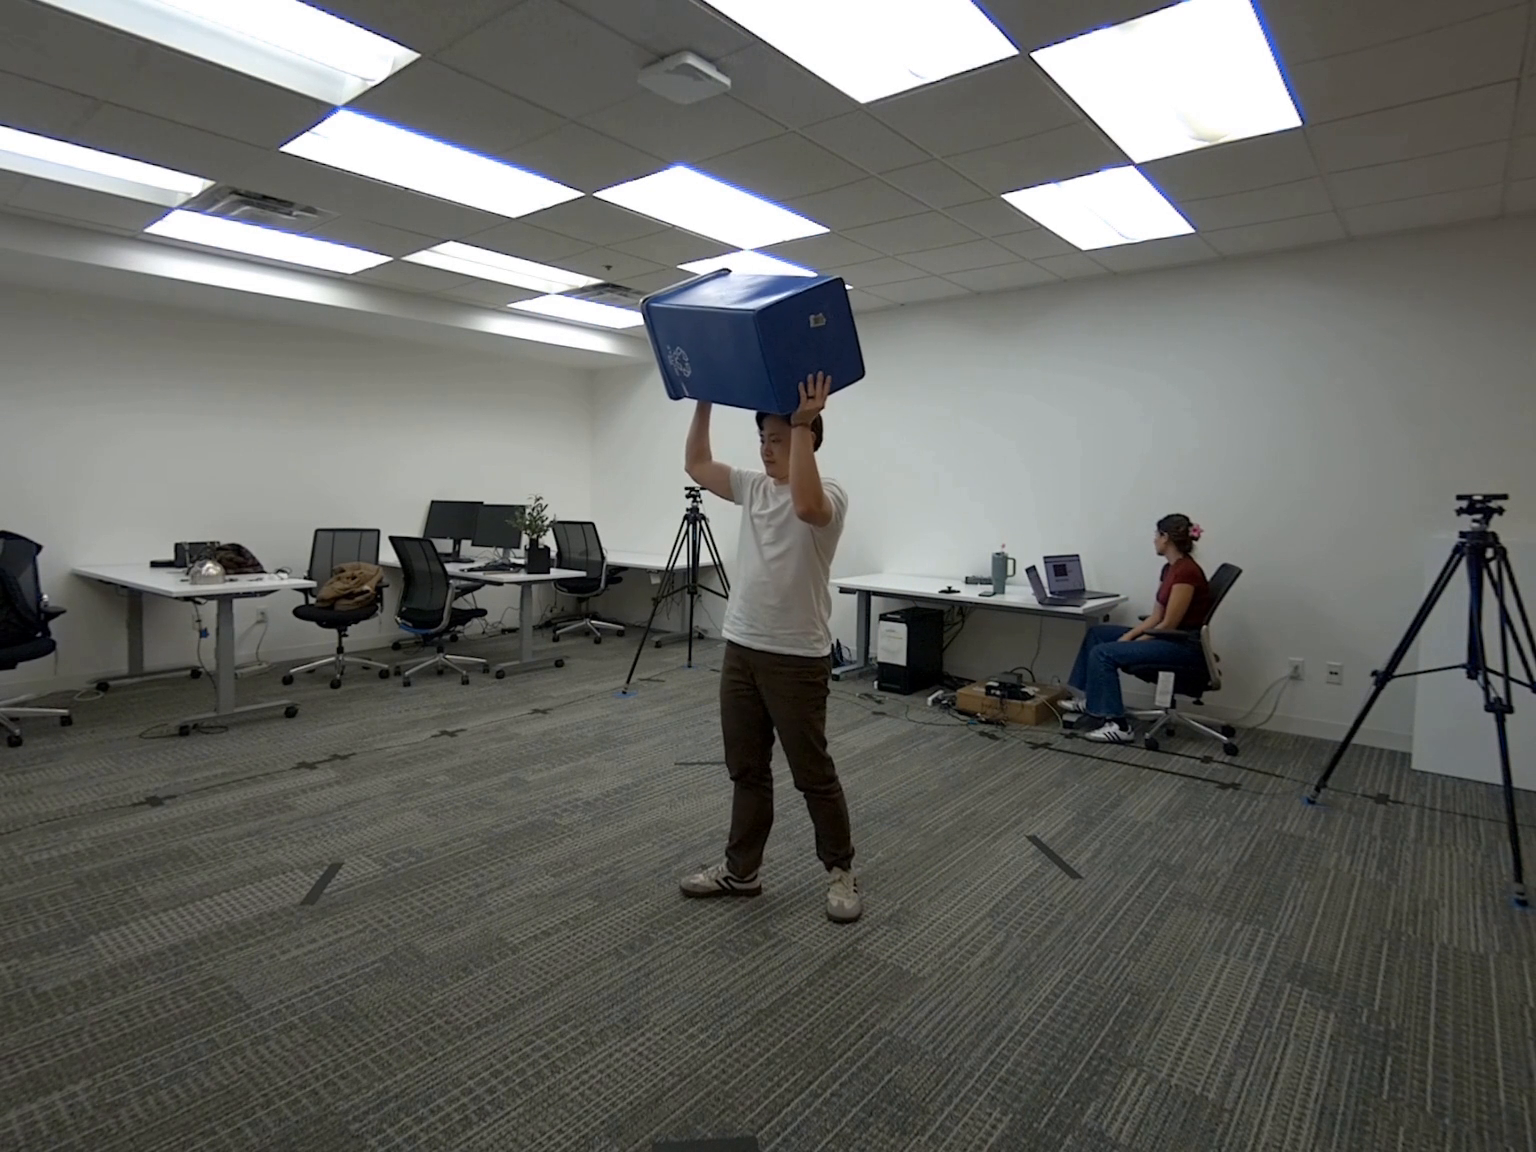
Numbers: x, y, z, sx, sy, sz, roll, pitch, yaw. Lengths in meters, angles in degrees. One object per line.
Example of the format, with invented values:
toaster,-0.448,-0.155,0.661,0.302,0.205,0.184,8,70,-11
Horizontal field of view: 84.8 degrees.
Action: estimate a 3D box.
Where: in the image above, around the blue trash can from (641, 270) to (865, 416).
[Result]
blue trash can,-0.073,-0.735,2.648,0.370,0.367,0.741,-27,28,-20
